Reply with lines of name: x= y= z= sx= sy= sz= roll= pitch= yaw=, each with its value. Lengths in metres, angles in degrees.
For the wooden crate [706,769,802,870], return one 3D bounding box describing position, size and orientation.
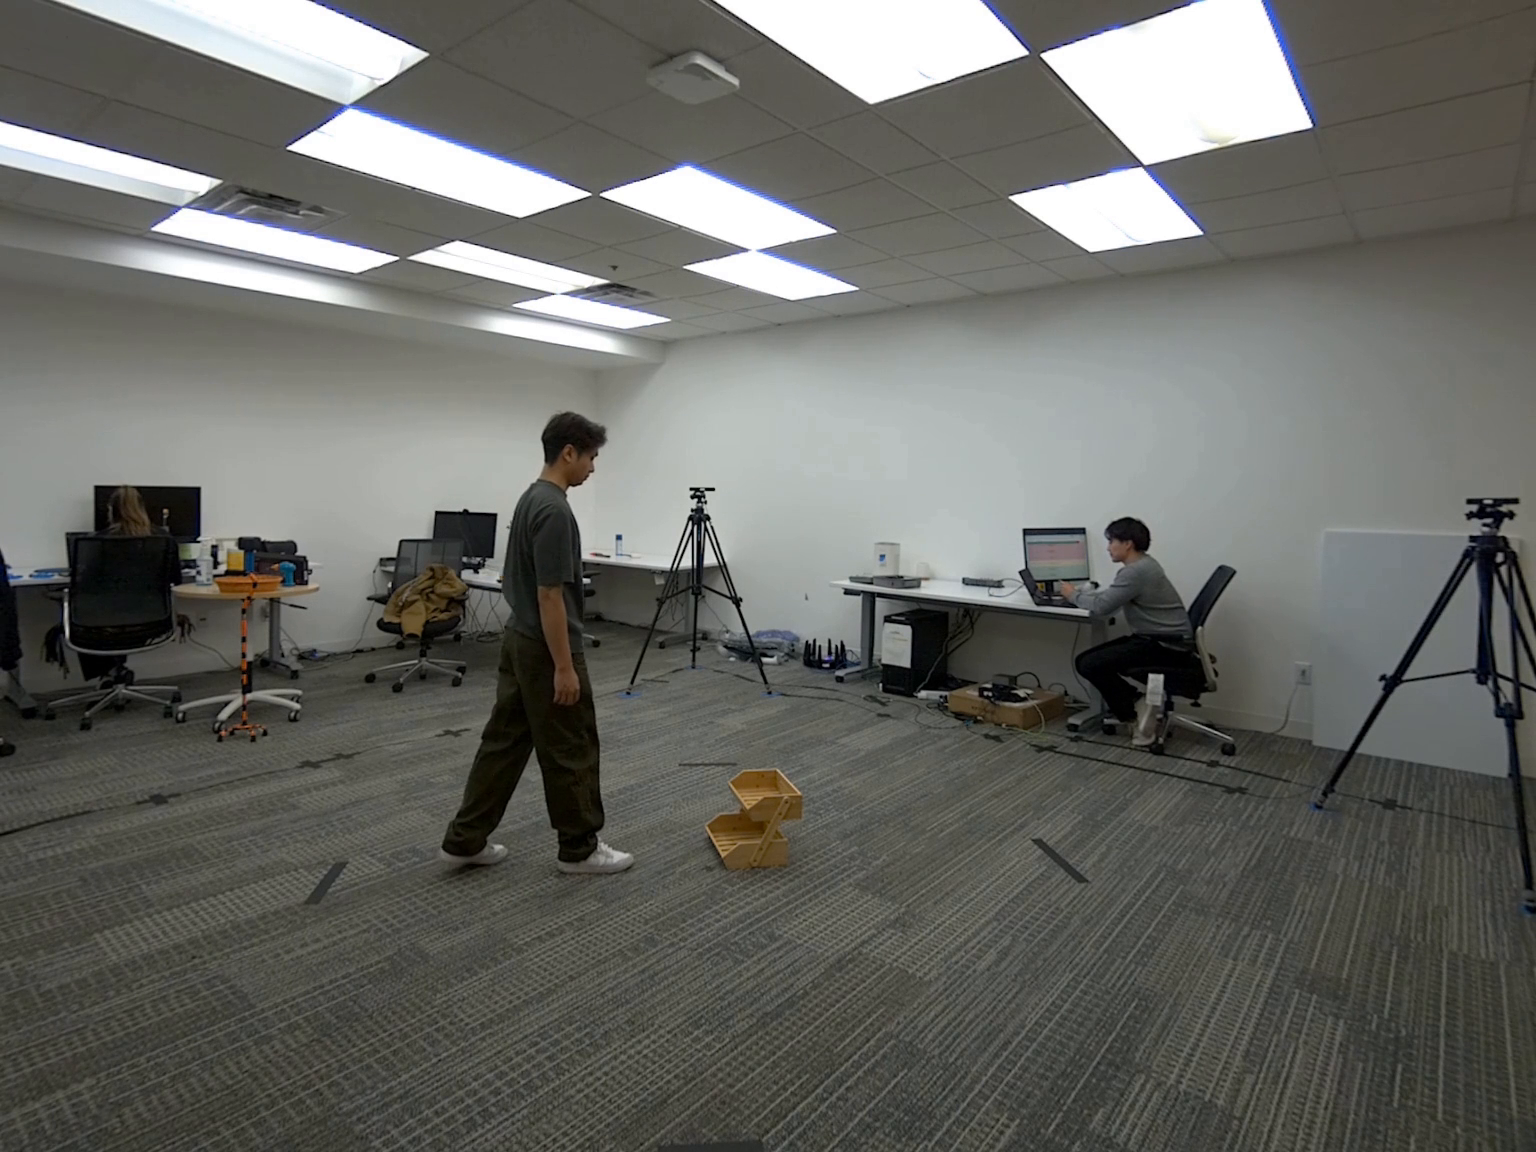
wooden crate: x=-0.076 y=0.924 z=3.268 sx=0.297 sy=0.272 sz=0.331 roll=0 pitch=5 yaw=-16
